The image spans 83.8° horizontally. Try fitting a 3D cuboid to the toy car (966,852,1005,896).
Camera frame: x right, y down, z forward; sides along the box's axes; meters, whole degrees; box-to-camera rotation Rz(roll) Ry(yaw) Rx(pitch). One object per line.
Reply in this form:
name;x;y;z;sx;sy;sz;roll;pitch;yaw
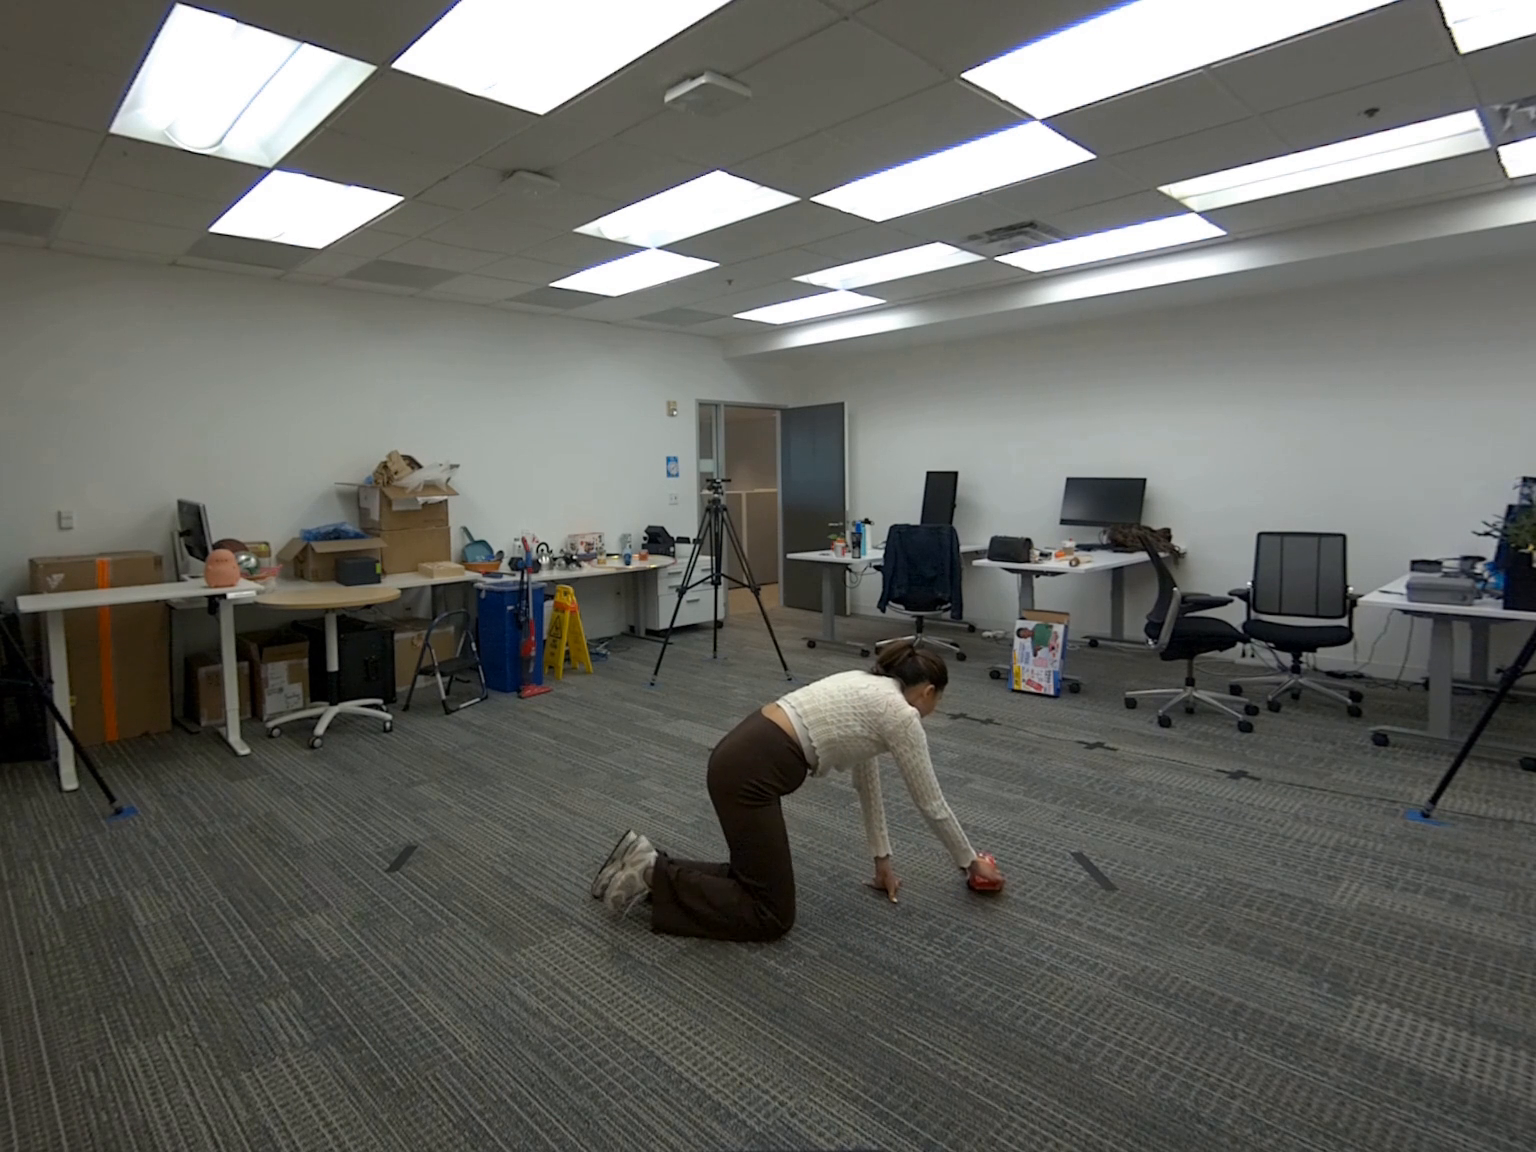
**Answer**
toy car;0.741;1.019;2.936;0.131;0.083;0.252;0;-4;3
